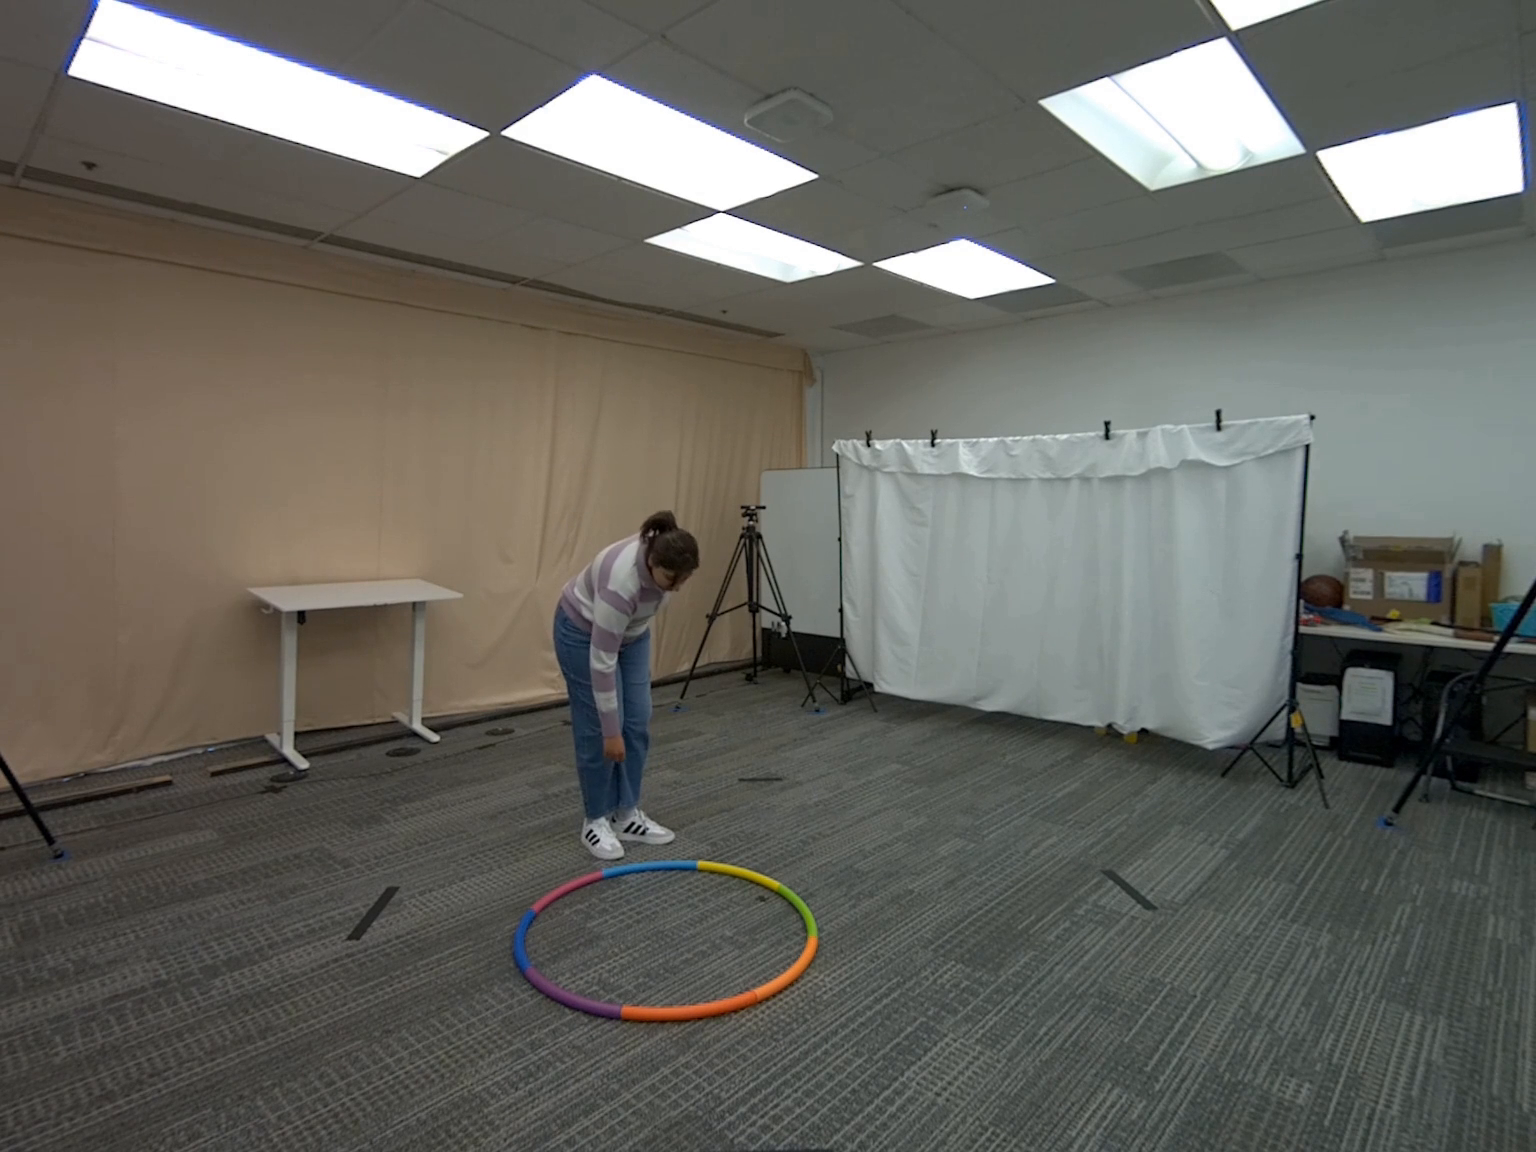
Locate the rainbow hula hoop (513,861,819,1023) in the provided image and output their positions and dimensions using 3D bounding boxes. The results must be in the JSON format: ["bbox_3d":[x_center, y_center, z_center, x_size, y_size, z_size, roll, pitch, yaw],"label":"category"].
[{"bbox_3d":[-0.325,1.140,2.755,0.985,0.051,0.989,-1,5,-2],"label":"rainbow hula hoop"}]
